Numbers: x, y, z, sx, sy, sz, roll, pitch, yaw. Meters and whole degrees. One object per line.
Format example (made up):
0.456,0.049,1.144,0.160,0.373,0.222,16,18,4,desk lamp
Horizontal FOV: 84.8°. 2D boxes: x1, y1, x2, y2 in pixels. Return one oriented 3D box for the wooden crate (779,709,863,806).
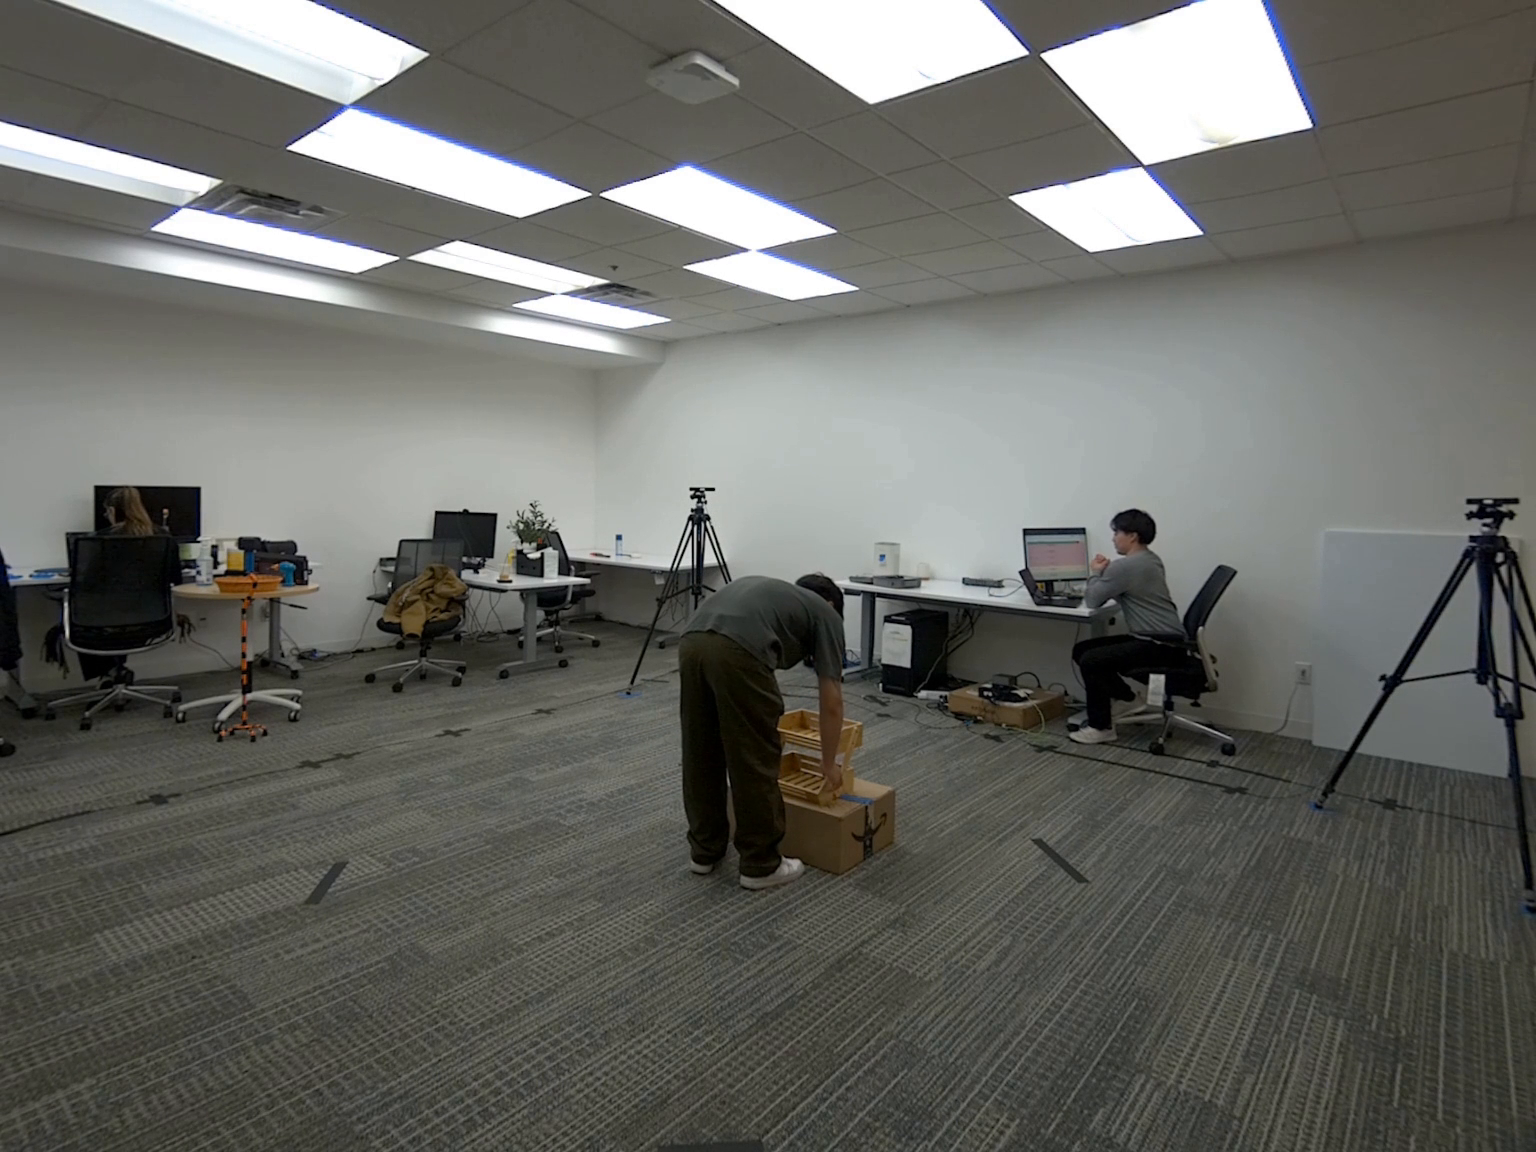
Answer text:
0.160,0.704,3.389,0.335,0.272,0.293,5,5,39,wooden crate
